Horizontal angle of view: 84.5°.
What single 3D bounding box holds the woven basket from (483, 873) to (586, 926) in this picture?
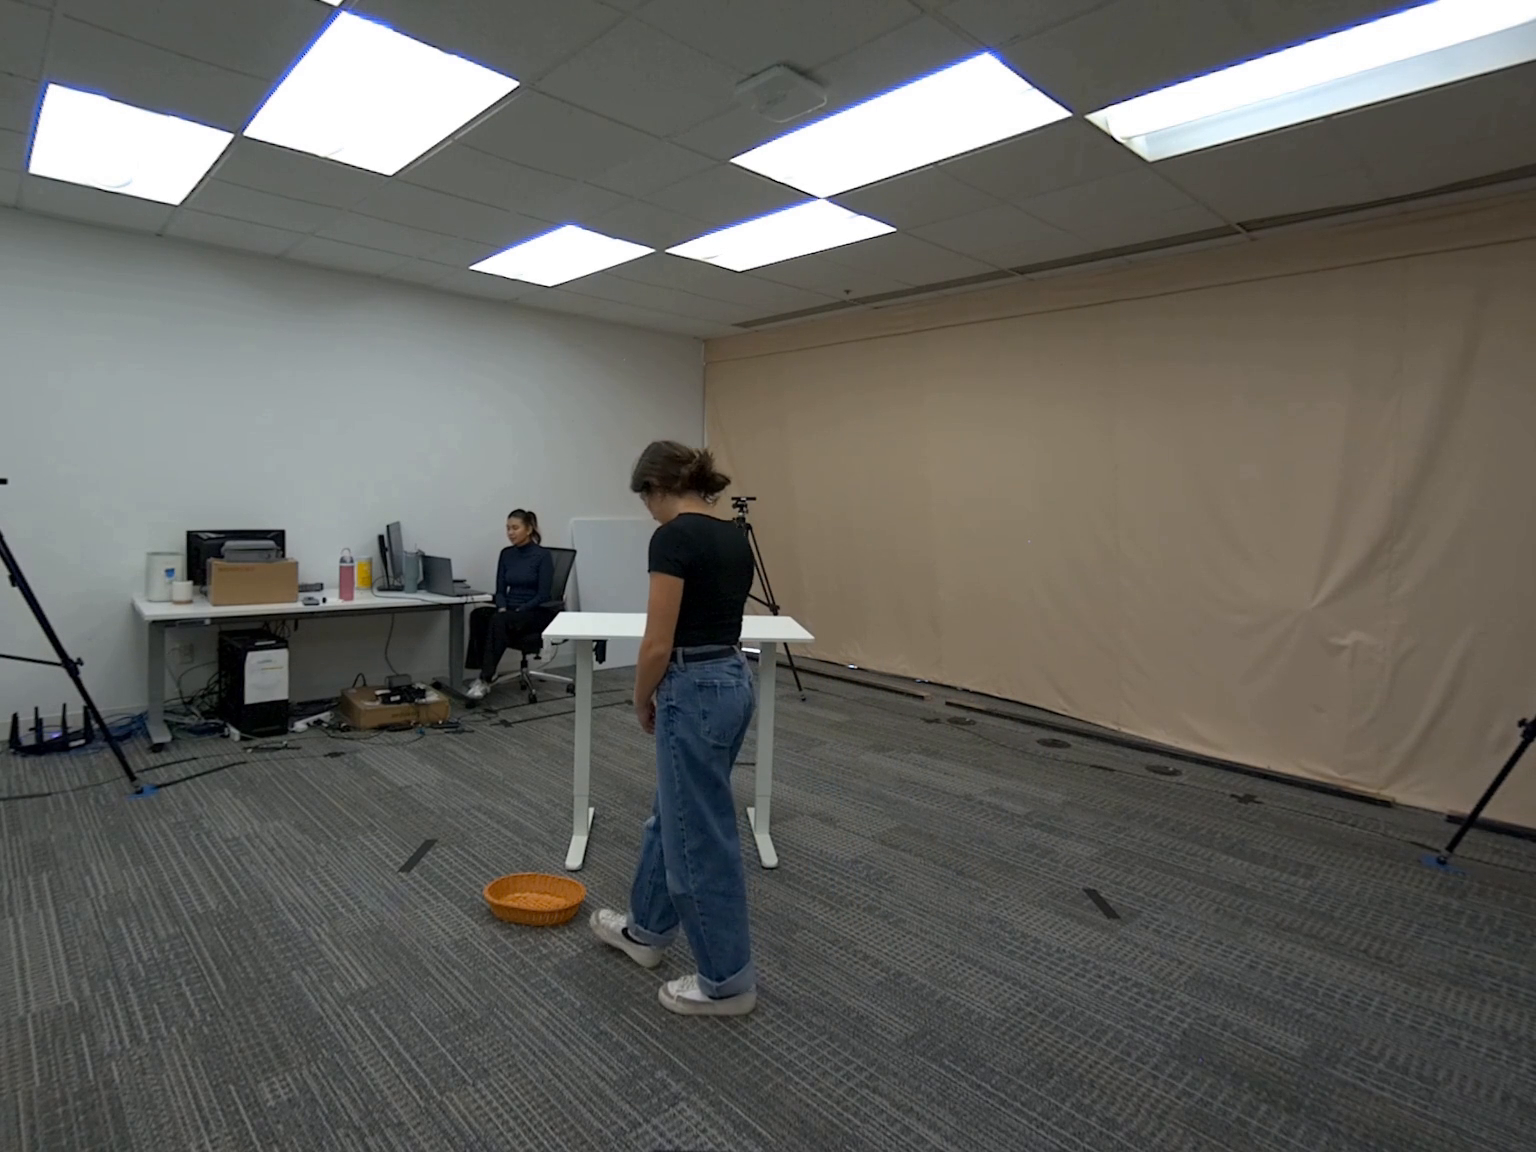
[{"bbox_3d":[-0.780,1.081,2.810,0.355,0.073,0.249,2,4,16],"label":"woven basket"}]
